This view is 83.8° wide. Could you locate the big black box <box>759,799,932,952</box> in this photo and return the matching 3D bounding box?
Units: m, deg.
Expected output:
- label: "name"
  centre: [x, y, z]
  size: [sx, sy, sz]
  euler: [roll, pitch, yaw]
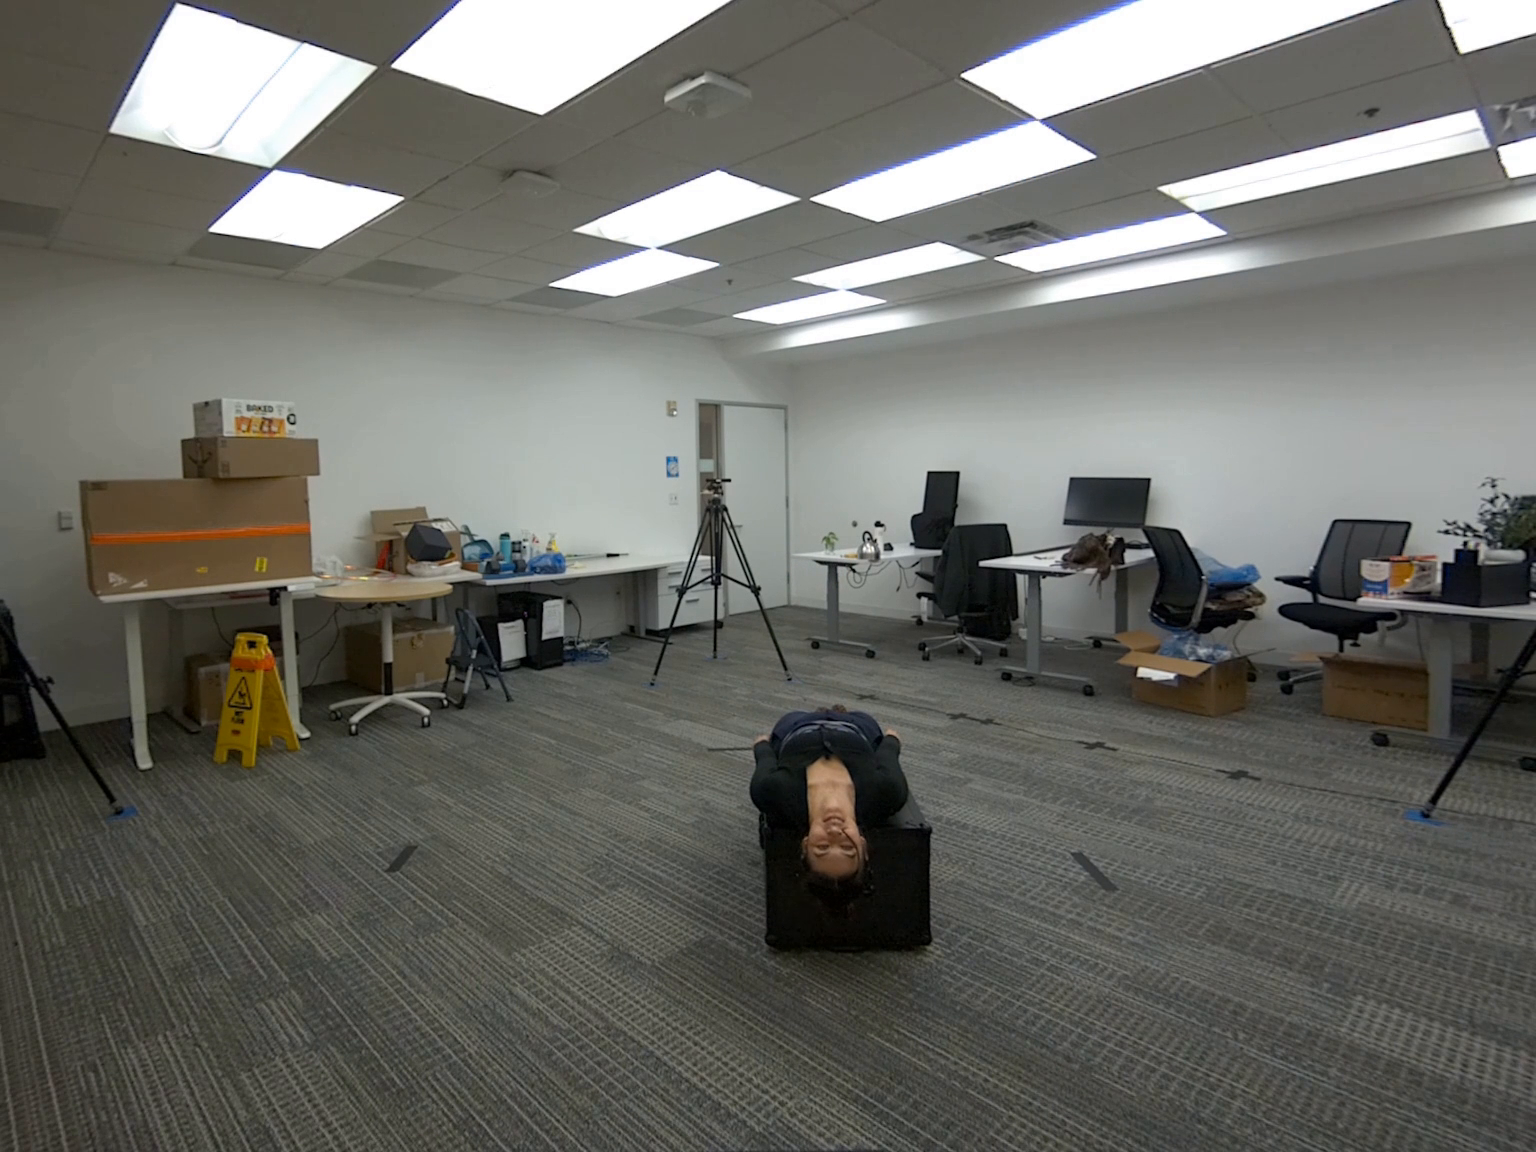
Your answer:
- label: "big black box"
  centre: [0.227, 0.867, 2.915]
  size: [0.521, 0.394, 0.866]
  euler: [-2, 7, -1]
